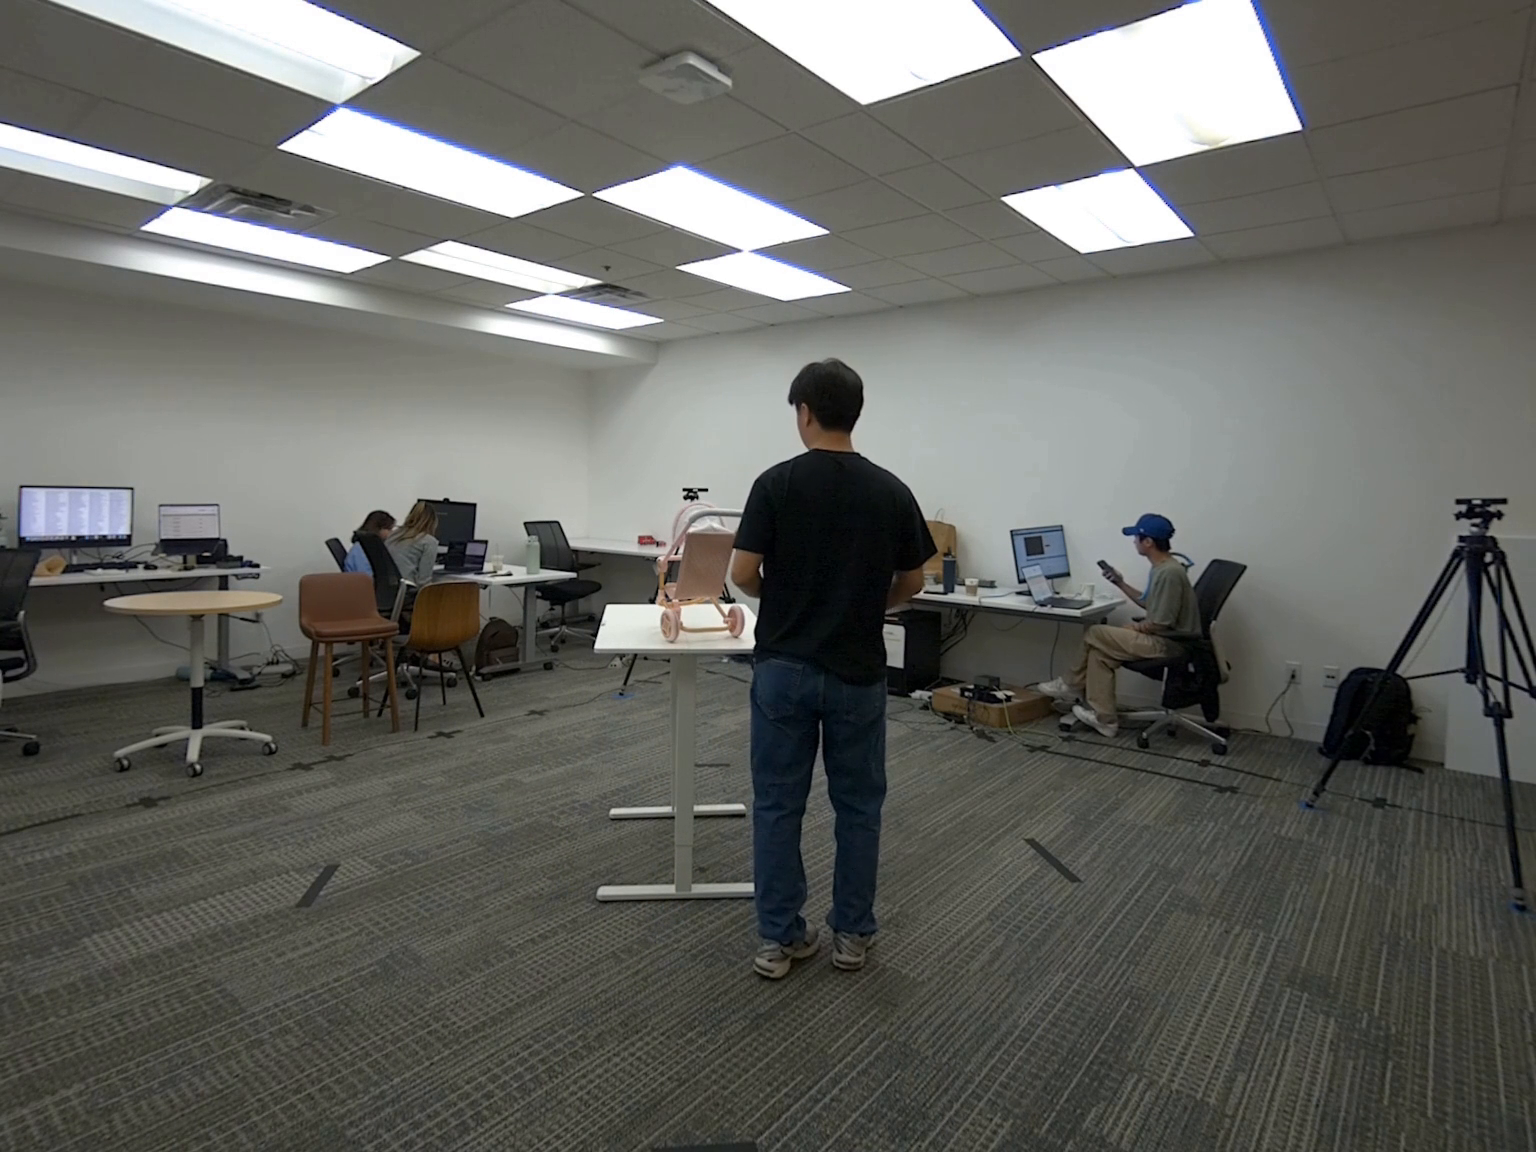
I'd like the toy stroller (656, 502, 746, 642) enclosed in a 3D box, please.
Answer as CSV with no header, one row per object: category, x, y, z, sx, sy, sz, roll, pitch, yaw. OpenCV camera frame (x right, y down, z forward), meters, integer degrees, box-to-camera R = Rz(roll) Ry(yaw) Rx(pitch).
toy stroller,-0.258,-0.021,2.924,0.275,0.528,0.354,0,18,-24
